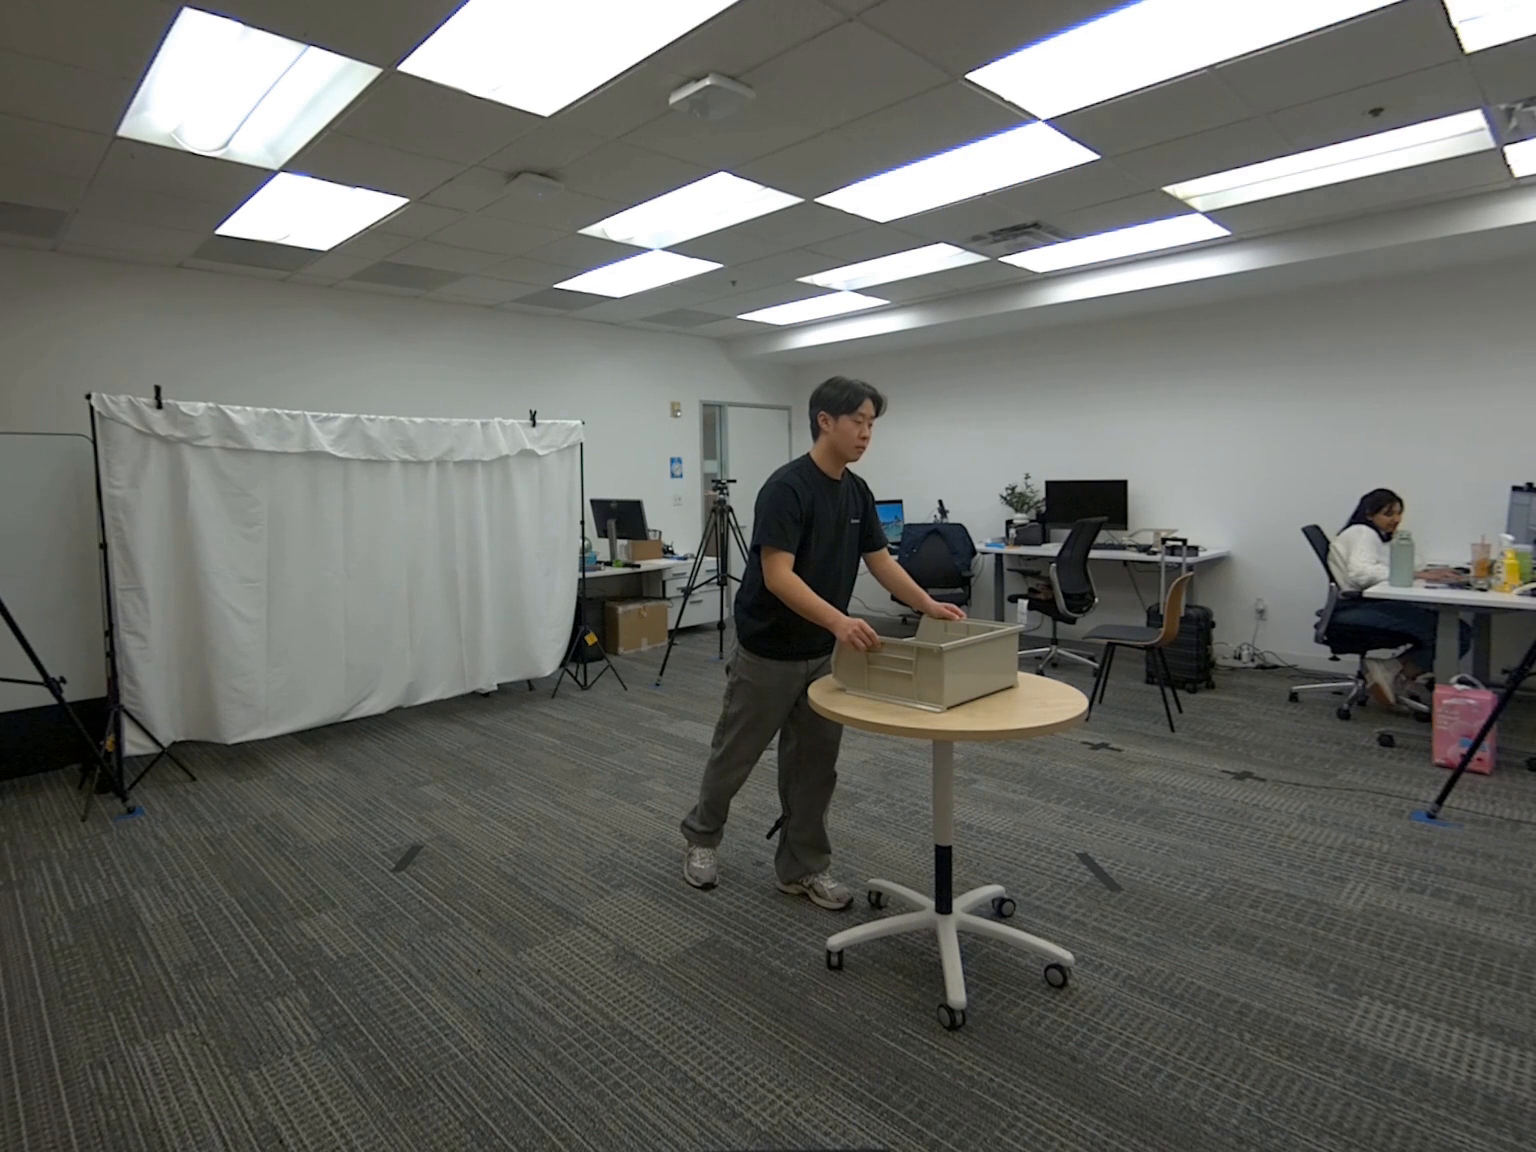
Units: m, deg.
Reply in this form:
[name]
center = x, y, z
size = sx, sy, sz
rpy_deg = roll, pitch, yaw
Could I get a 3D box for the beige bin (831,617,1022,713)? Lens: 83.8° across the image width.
[beige bin]
center = 0.465, 0.241, 2.457
size = 0.411, 0.188, 0.389
rpy_deg = -6, 8, -44
